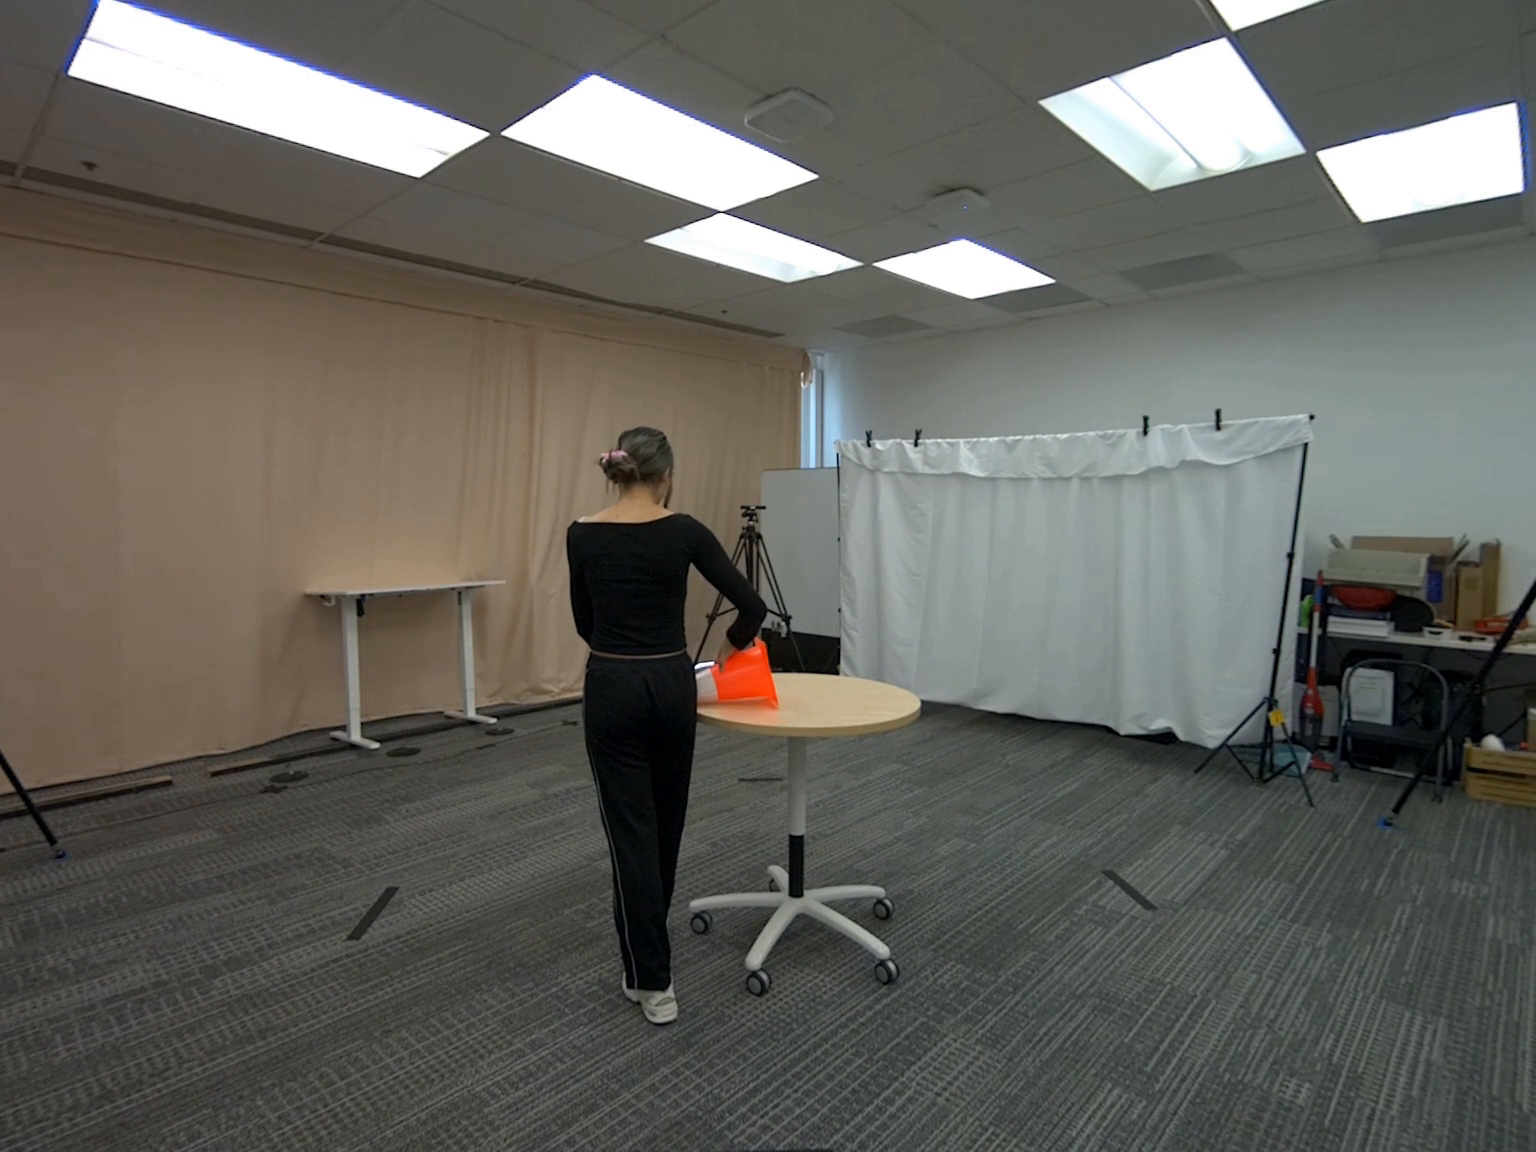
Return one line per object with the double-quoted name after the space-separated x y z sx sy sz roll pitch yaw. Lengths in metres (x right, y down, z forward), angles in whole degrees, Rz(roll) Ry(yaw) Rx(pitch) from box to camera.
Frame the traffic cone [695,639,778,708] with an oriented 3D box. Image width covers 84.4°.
-0.178 0.342 2.573 0.383 0.205 0.204 -14 2 -1 "traffic cone"
